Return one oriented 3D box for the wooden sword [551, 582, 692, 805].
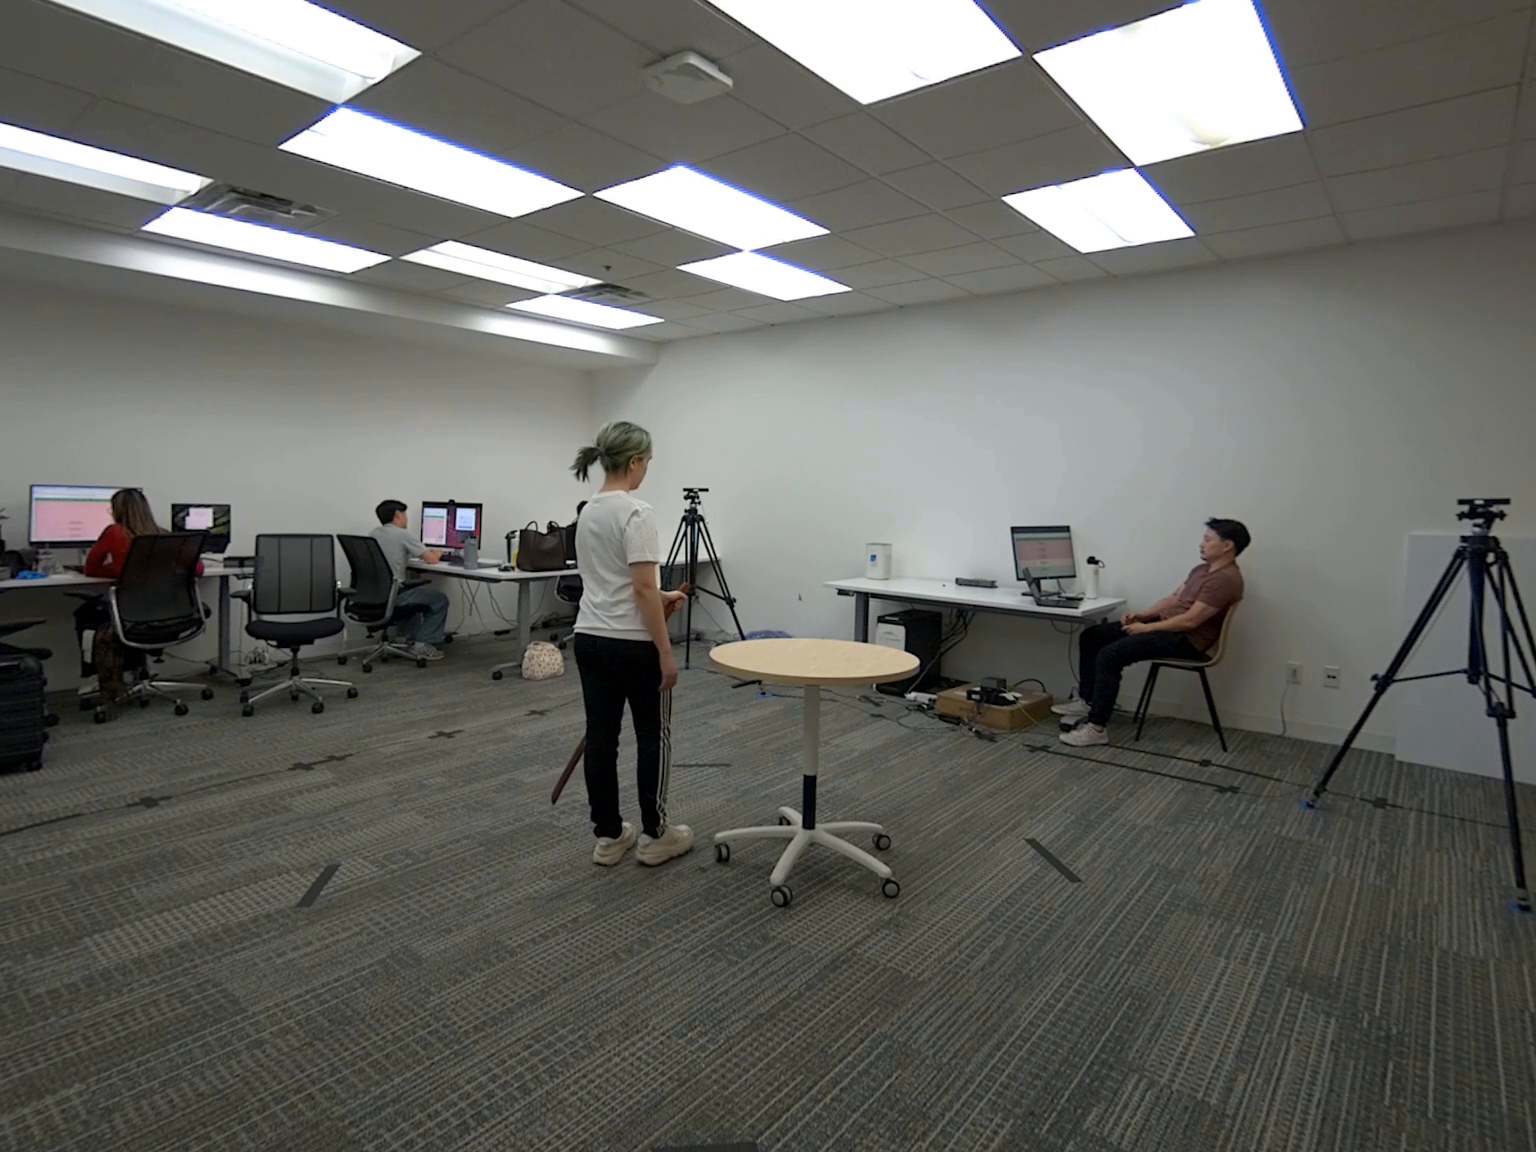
[{"bbox_3d":[-0.618,0.478,3.468,0.025,1.028,0.049,15,-20,50],"label":"wooden sword"}]
